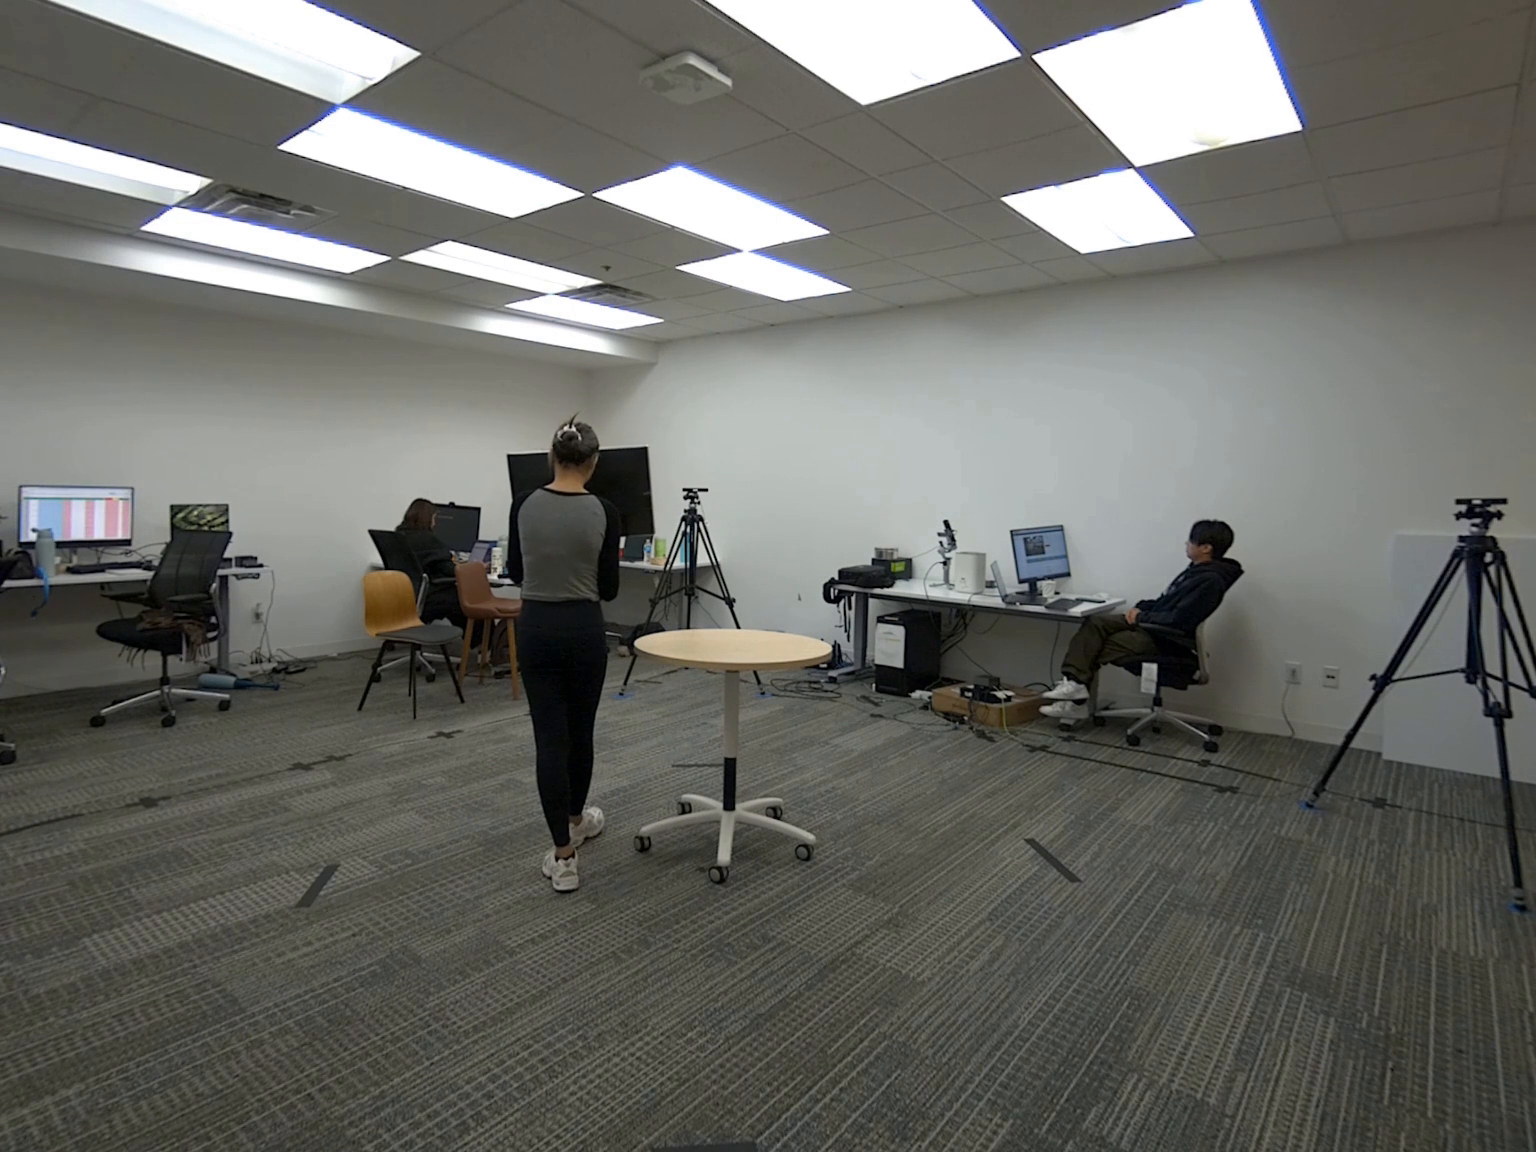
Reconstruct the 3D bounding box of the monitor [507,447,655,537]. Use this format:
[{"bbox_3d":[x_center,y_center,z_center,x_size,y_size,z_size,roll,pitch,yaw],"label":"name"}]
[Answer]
[{"bbox_3d":[-0.741,-0.224,3.340,0.538,0.520,0.188,-4,4,-2],"label":"monitor"}]
